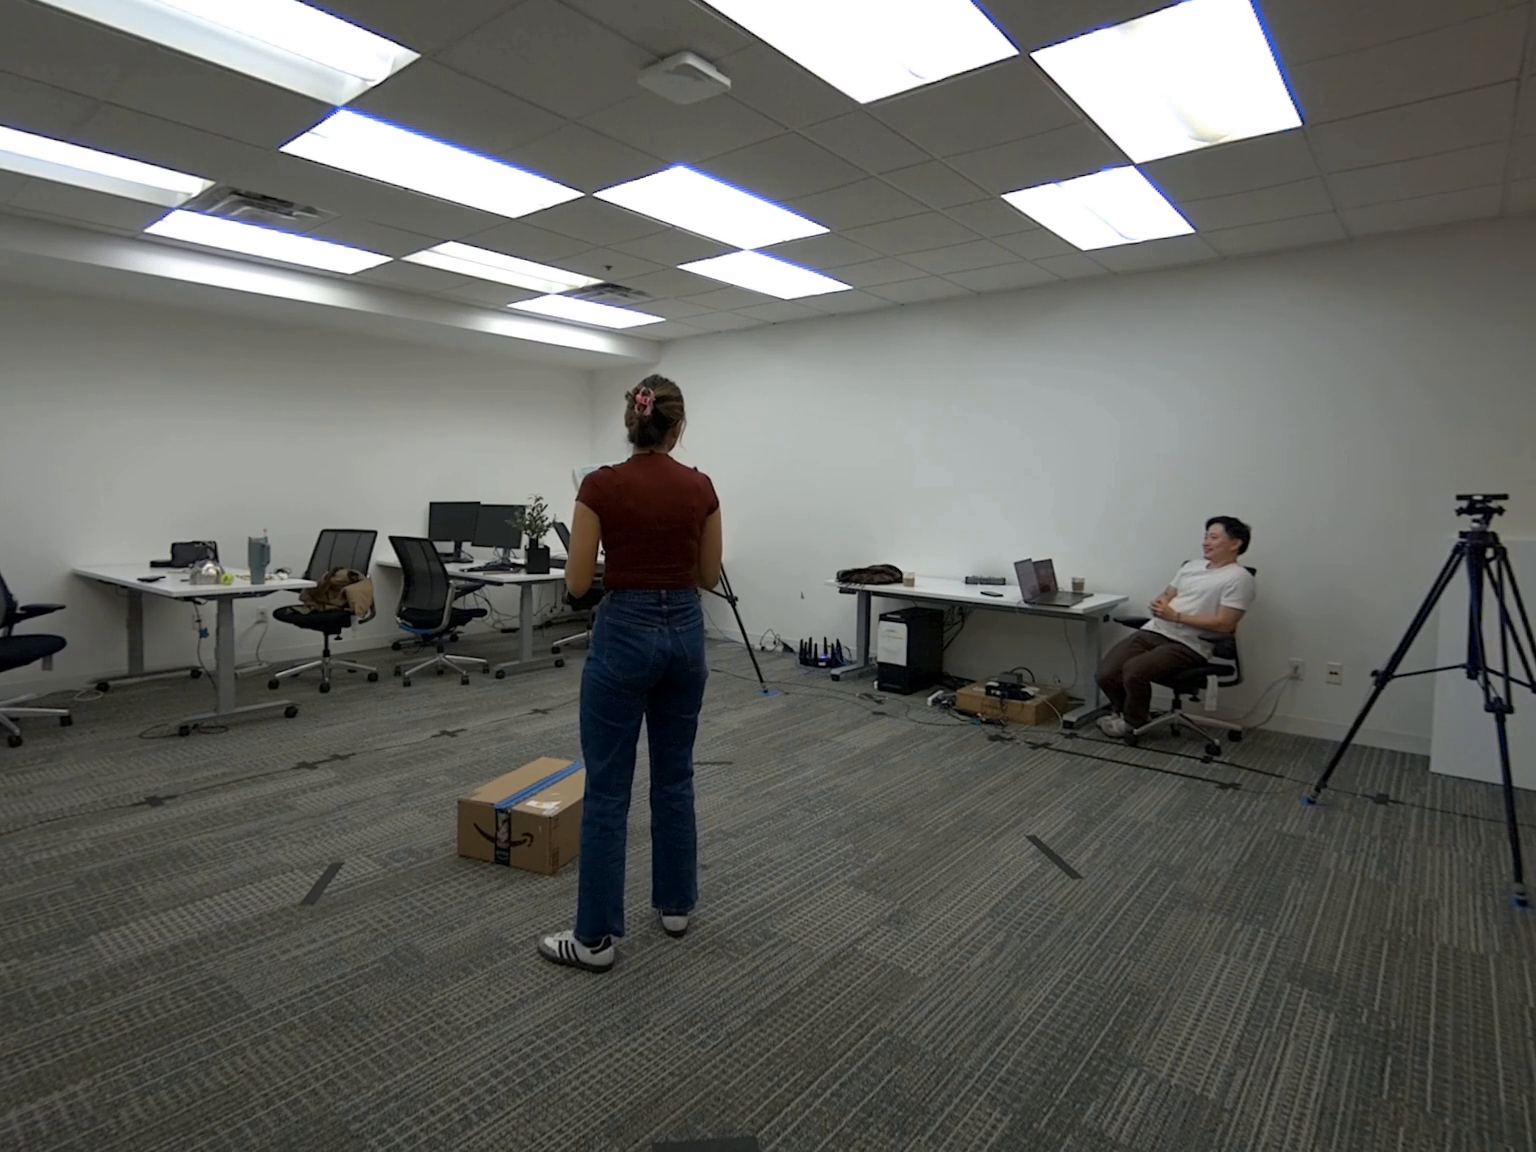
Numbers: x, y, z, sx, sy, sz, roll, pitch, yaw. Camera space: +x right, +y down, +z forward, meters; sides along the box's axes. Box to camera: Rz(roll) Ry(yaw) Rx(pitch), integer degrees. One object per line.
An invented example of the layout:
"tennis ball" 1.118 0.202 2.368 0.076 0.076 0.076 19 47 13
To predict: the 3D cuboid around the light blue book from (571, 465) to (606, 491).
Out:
"light blue book" -0.530 -0.261 2.805 0.188 0.058 0.271 -5 47 -21
